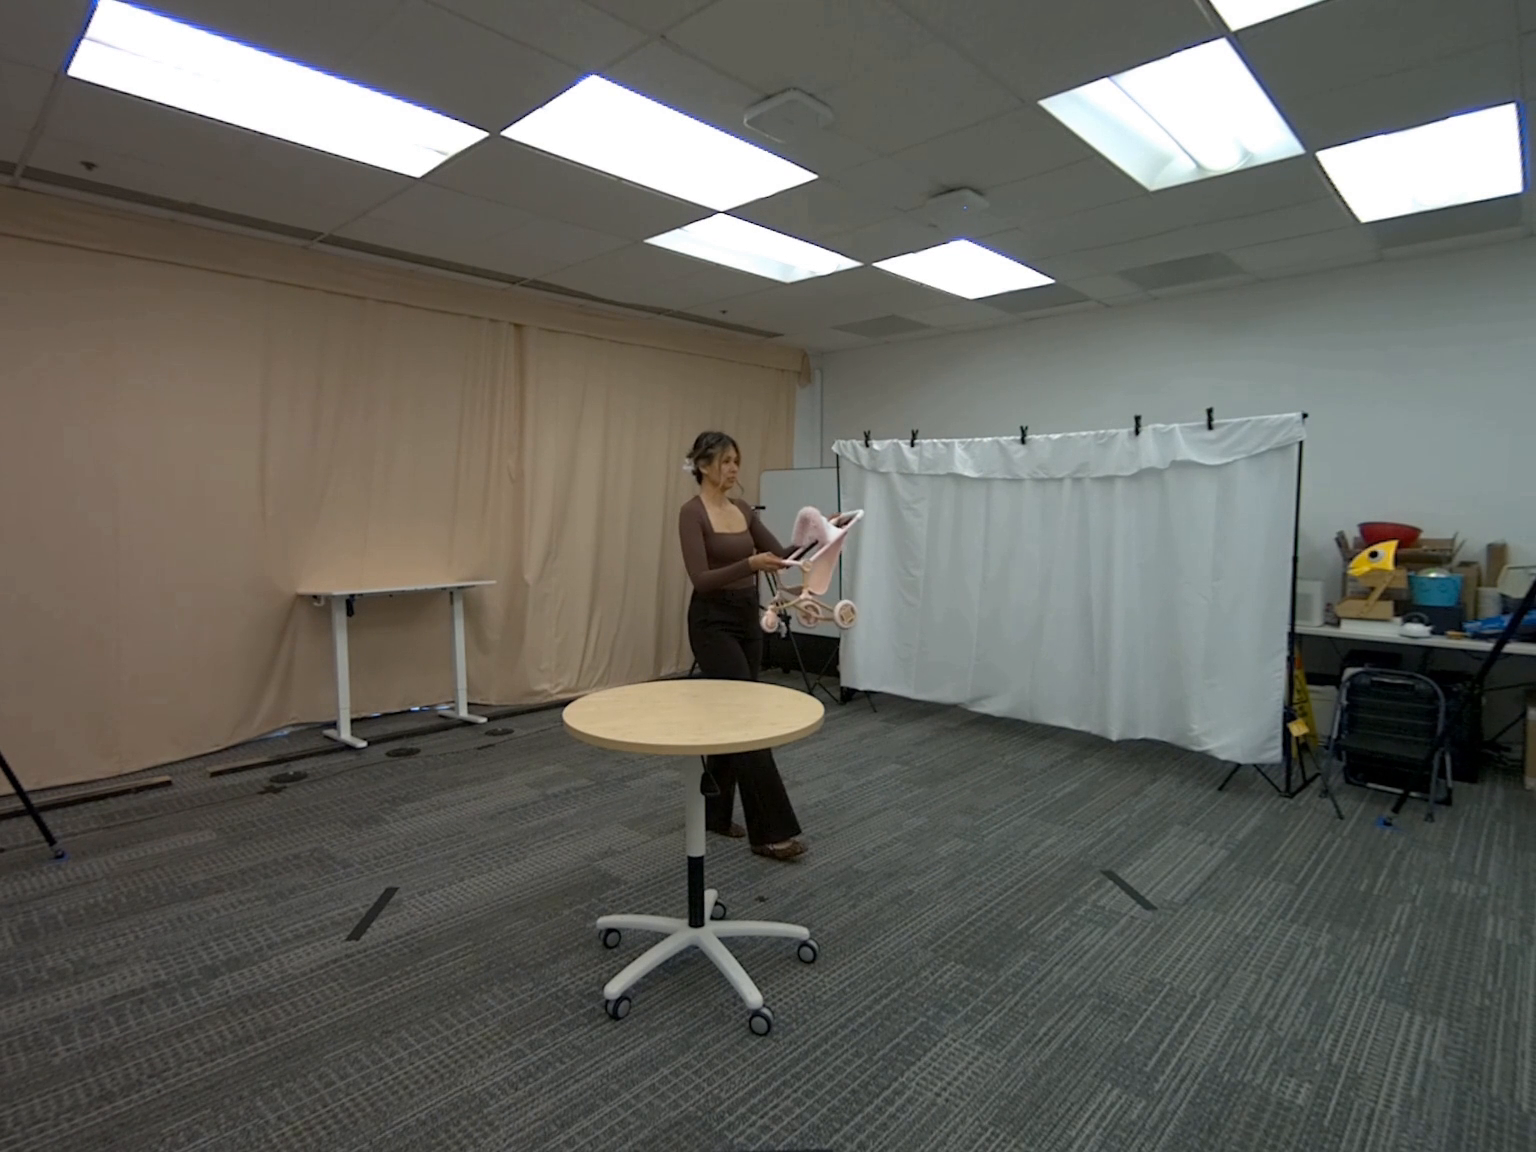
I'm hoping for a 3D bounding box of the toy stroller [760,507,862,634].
[{"bbox_3d":[0.158,-0.025,3.223,0.333,0.537,0.287,13,-10,-23],"label":"toy stroller"}]
